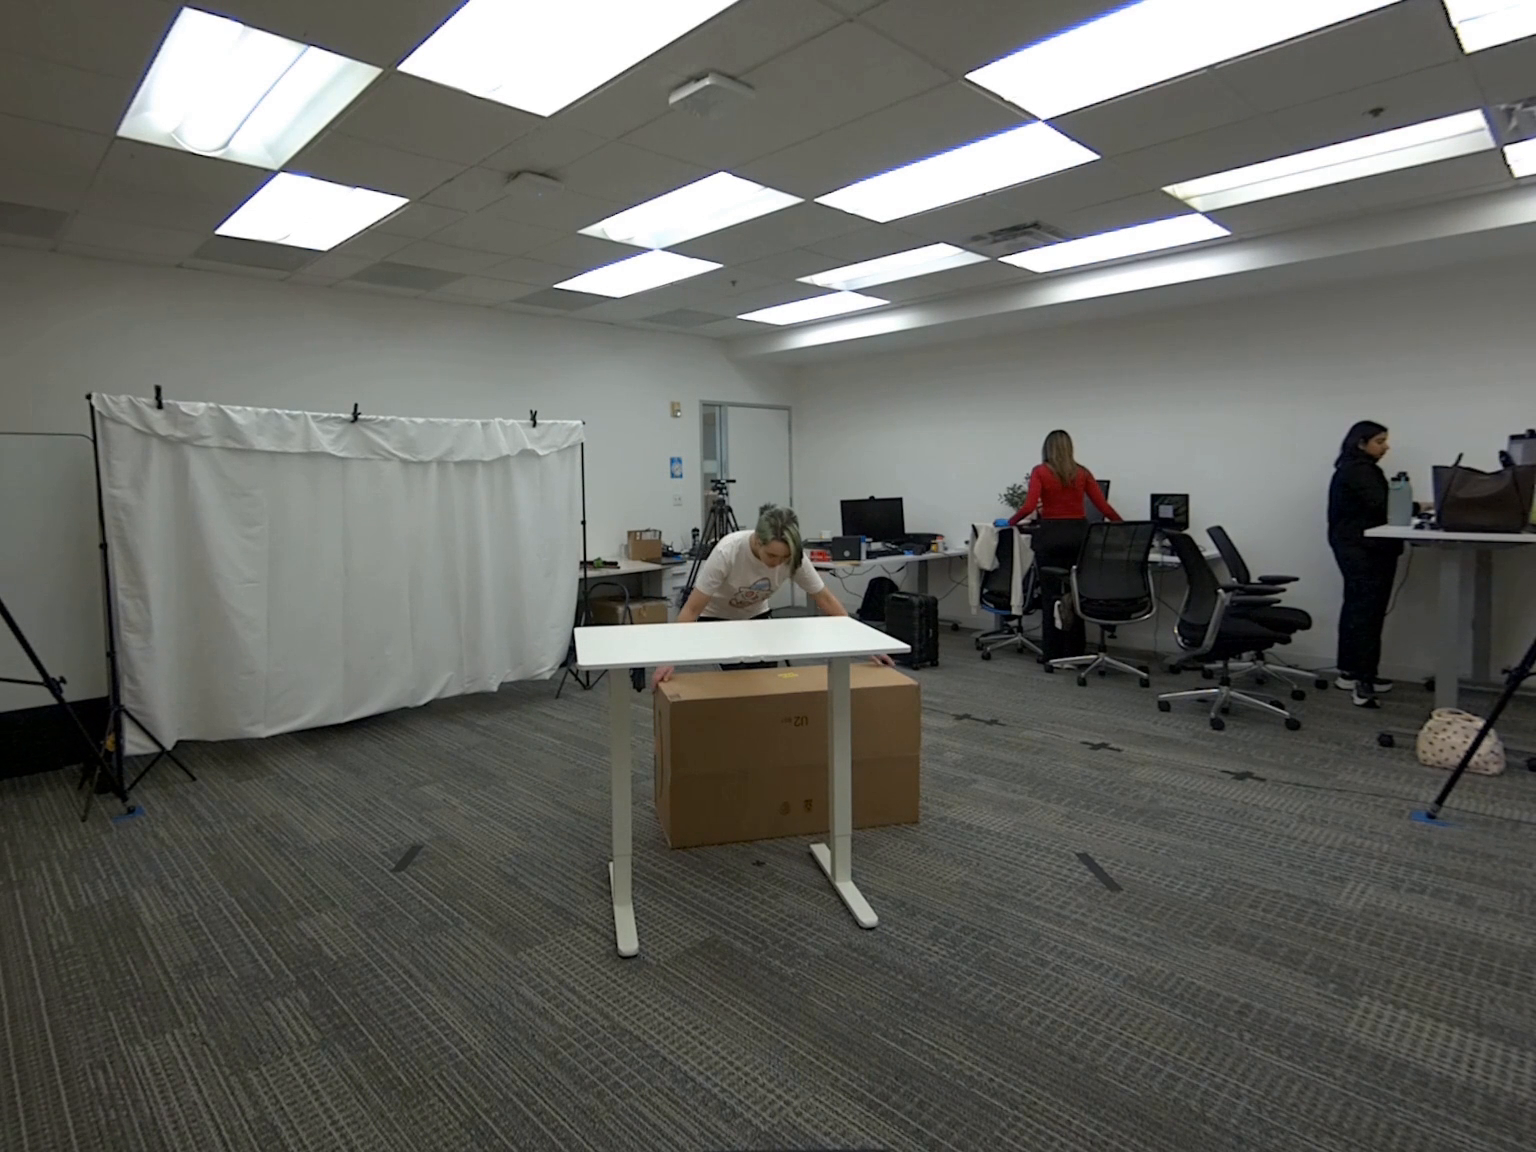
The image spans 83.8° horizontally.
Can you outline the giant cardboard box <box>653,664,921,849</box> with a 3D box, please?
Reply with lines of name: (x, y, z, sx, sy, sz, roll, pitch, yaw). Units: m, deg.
giant cardboard box: (0.063, 0.705, 3.533, 1.014, 0.582, 0.454, -2, 5, -14)
